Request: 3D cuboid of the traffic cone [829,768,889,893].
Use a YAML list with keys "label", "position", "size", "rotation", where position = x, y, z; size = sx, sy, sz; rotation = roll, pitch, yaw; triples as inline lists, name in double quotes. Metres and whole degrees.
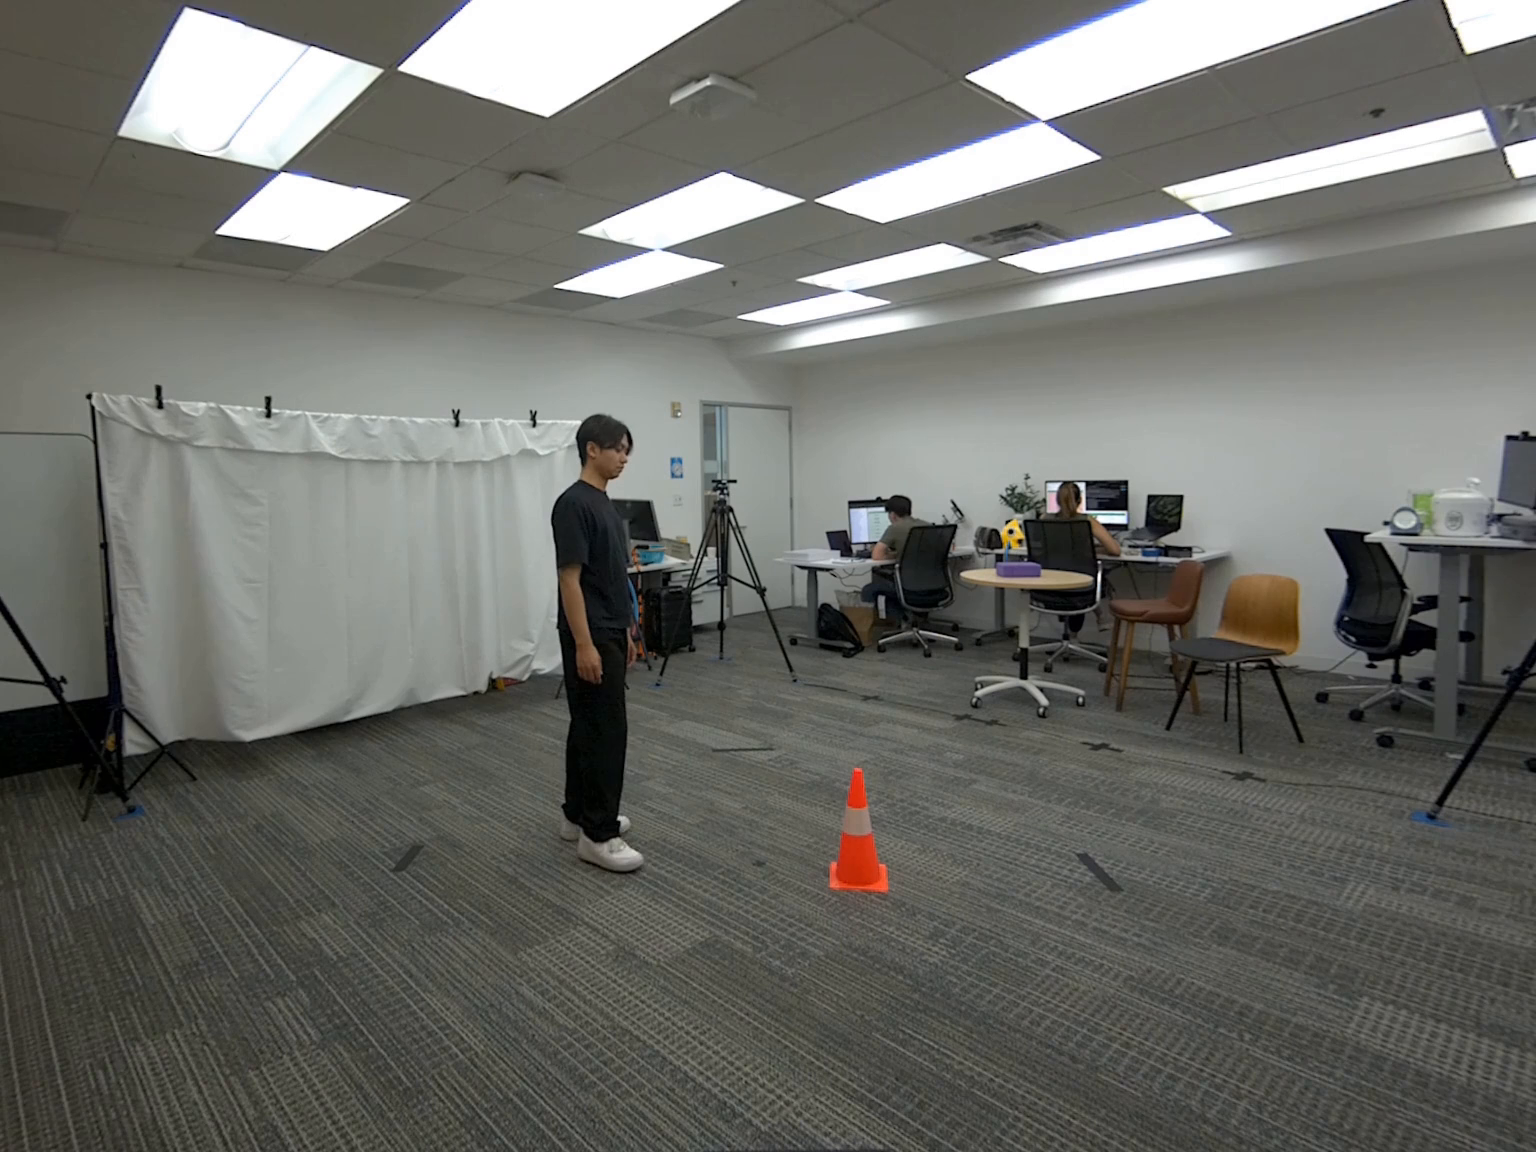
- label: "traffic cone"
  position: [0.317, 0.872, 2.972]
  size: [0.205, 0.382, 0.204]
  rotation: [-2, 5, 7]
